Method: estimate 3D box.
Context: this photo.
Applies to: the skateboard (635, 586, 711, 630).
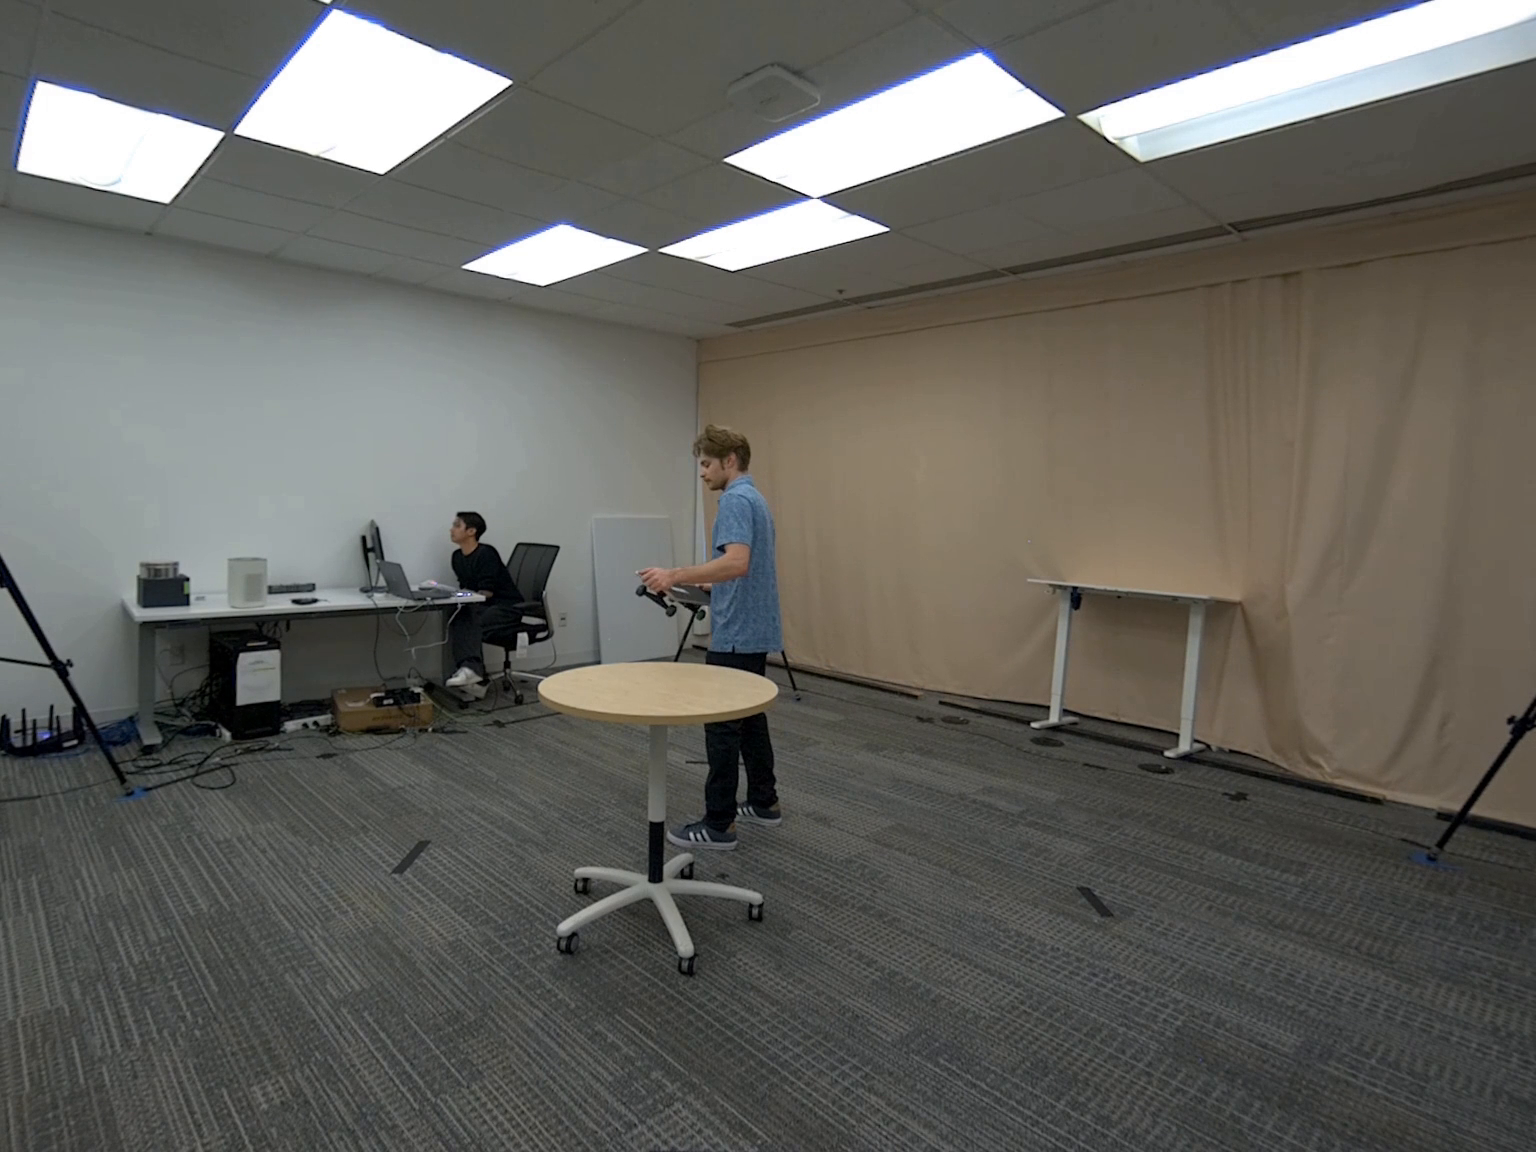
[{"bbox_3d":[-0.399,0.091,3.541,0.196,0.110,0.775,29,2,12],"label":"skateboard"}]
